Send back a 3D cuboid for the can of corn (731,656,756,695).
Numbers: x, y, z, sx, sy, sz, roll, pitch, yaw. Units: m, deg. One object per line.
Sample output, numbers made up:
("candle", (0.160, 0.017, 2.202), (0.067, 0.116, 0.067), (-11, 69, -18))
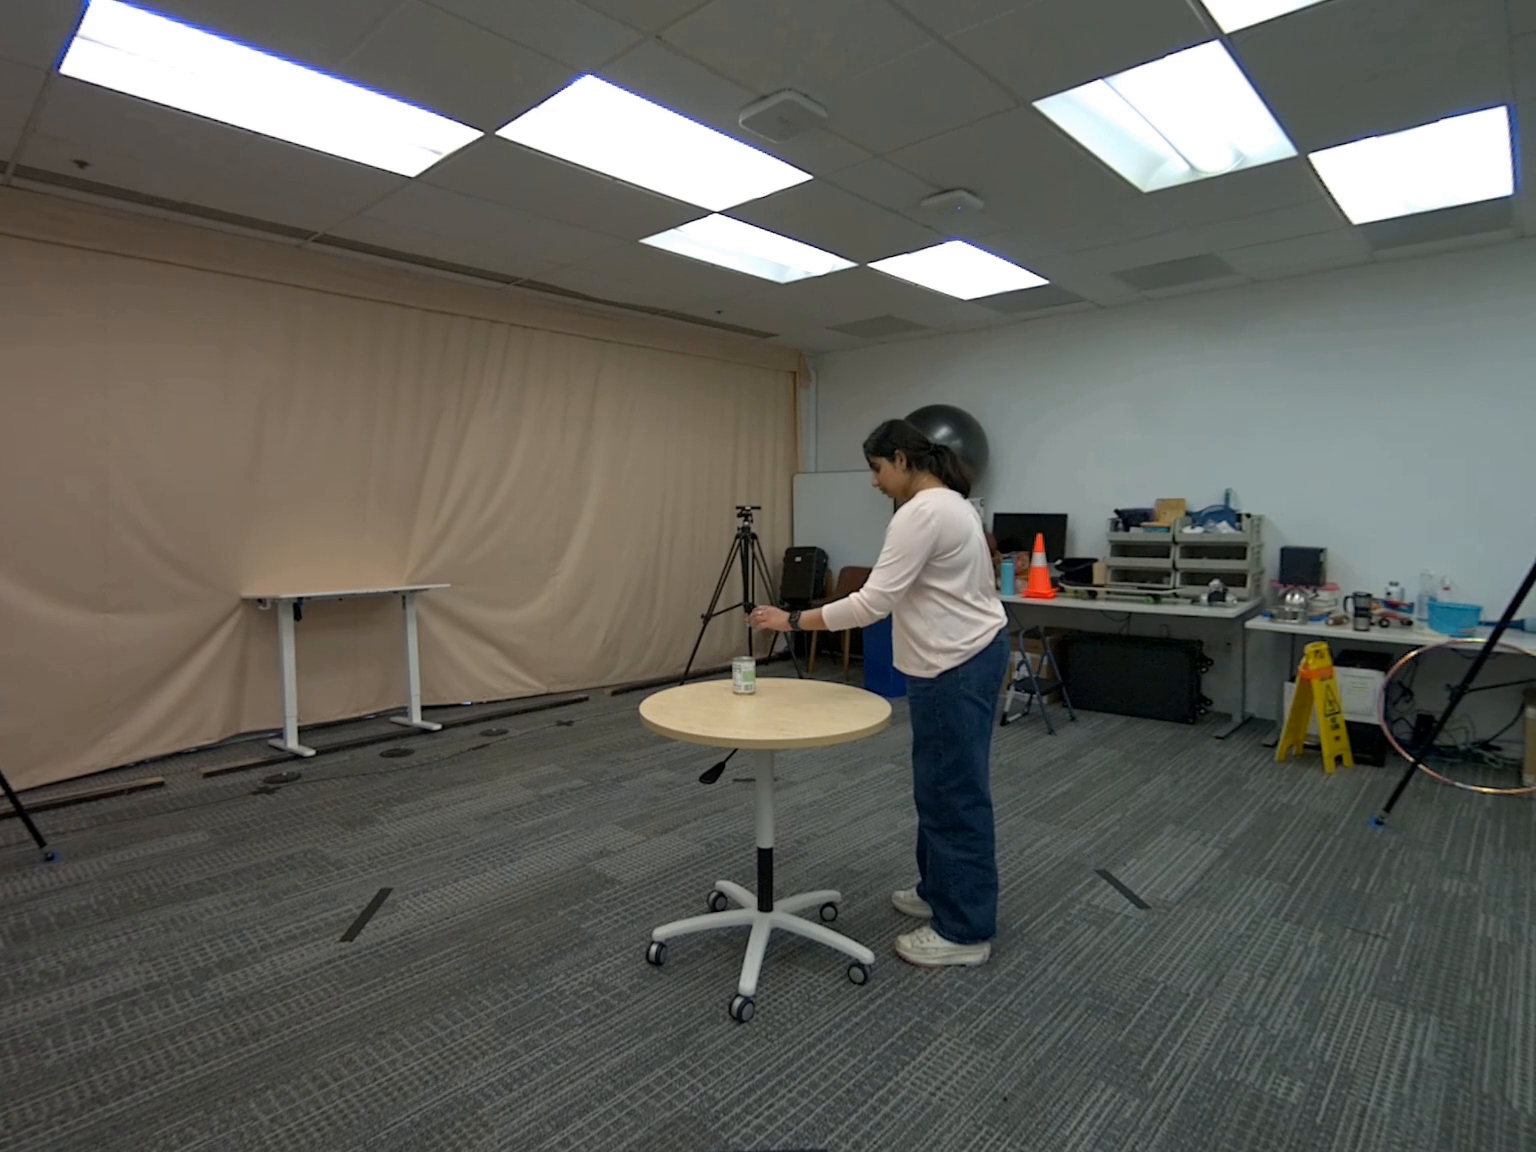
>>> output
("can of corn", (-0.073, 0.328, 2.739), (0.074, 0.111, 0.074), (-1, 5, -2))
